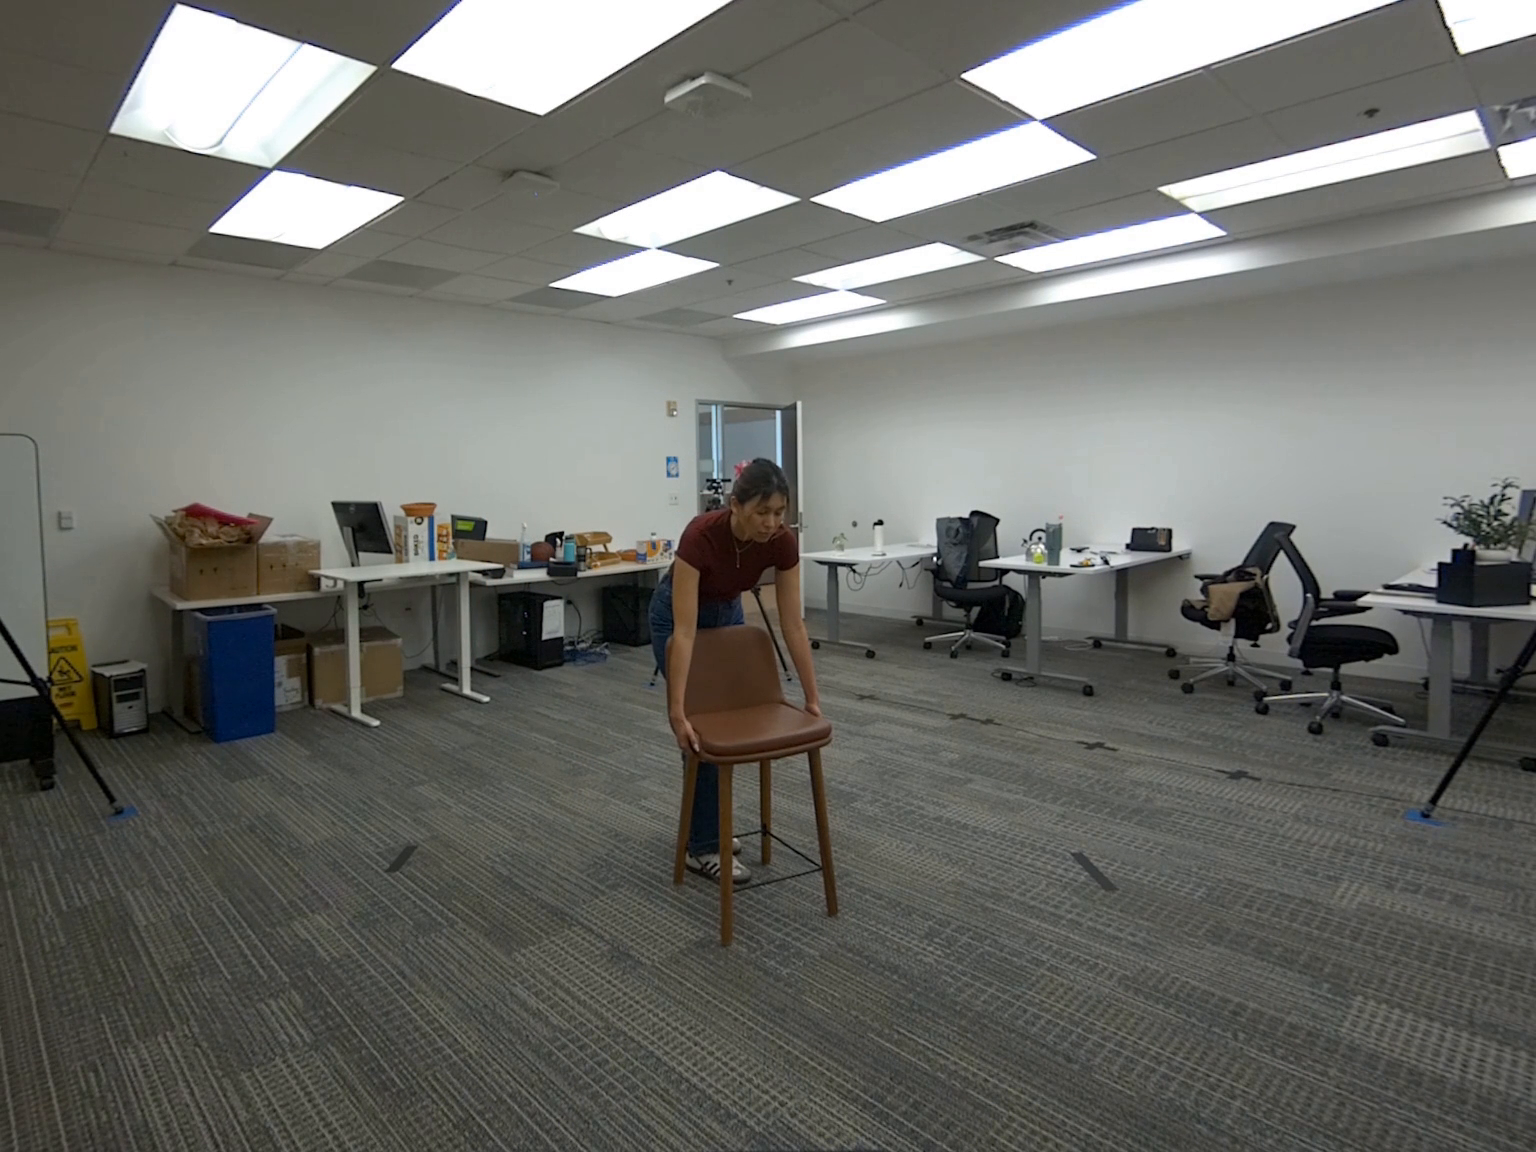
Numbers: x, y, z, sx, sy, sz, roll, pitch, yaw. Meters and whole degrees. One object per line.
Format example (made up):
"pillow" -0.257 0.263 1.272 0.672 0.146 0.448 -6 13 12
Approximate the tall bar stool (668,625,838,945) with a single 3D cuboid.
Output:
"tall bar stool" -0.068 0.640 2.824 0.446 0.888 0.479 -3 2 -27
